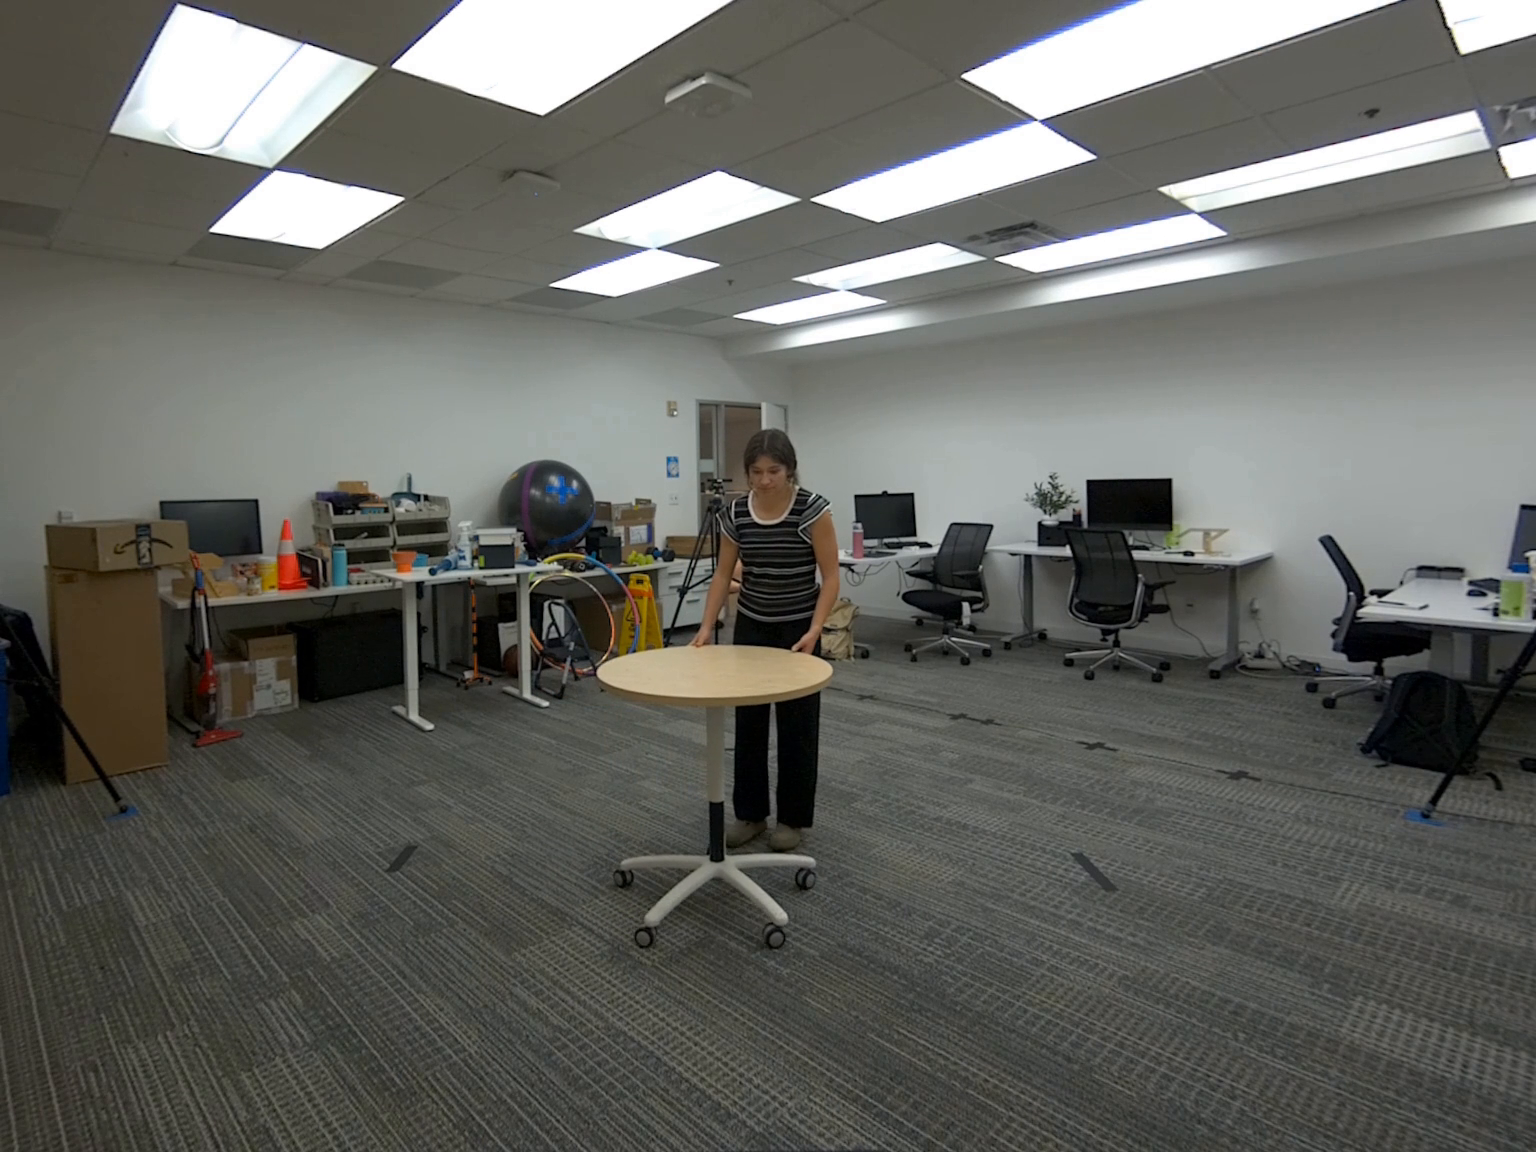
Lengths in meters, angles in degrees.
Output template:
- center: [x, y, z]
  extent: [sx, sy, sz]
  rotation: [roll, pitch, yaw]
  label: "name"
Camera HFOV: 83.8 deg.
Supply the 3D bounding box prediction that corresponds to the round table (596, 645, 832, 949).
- center: [-0.169, 0.687, 2.821]
  extent: [0.784, 0.783, 0.789]
  rotation: [-1, 5, -2]
  label: "round table"
